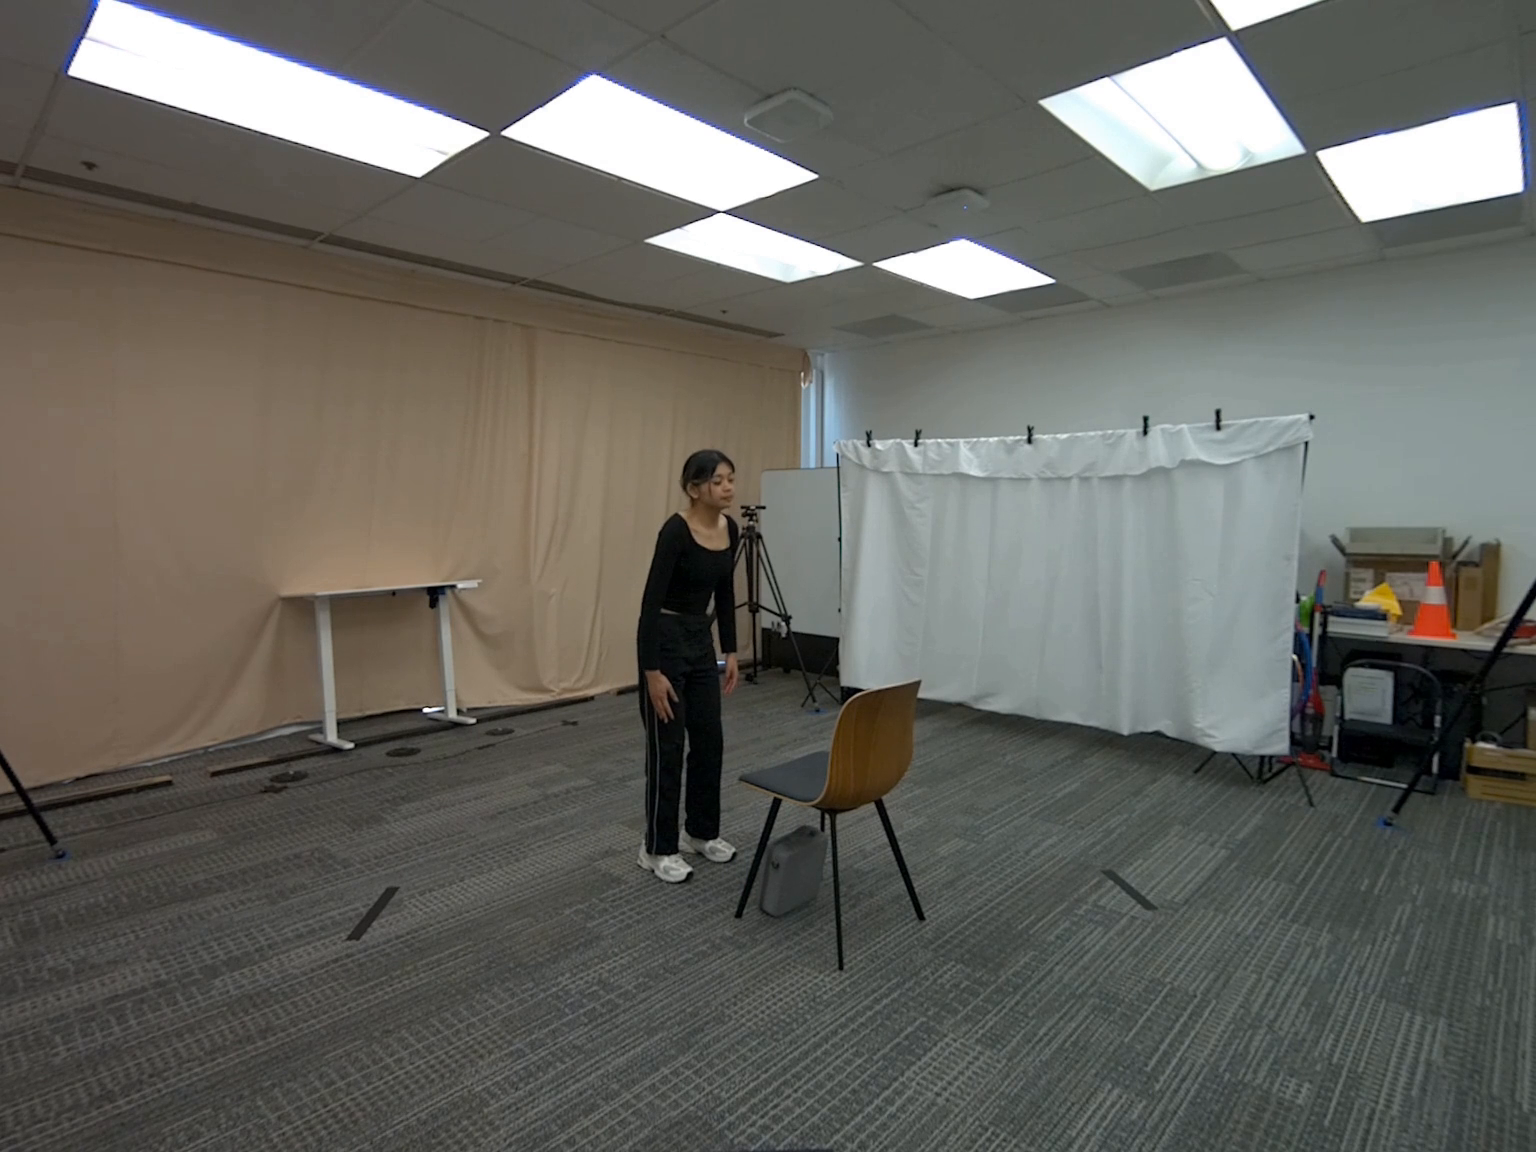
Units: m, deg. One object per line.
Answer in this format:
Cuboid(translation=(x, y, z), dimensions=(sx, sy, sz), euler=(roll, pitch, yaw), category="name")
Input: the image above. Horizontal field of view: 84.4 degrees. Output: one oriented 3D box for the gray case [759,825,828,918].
Cuboid(translation=(0.092, 1.011, 2.922), dimensions=(0.108, 0.259, 0.249), euler=(21, 17, 41), category="gray case")
